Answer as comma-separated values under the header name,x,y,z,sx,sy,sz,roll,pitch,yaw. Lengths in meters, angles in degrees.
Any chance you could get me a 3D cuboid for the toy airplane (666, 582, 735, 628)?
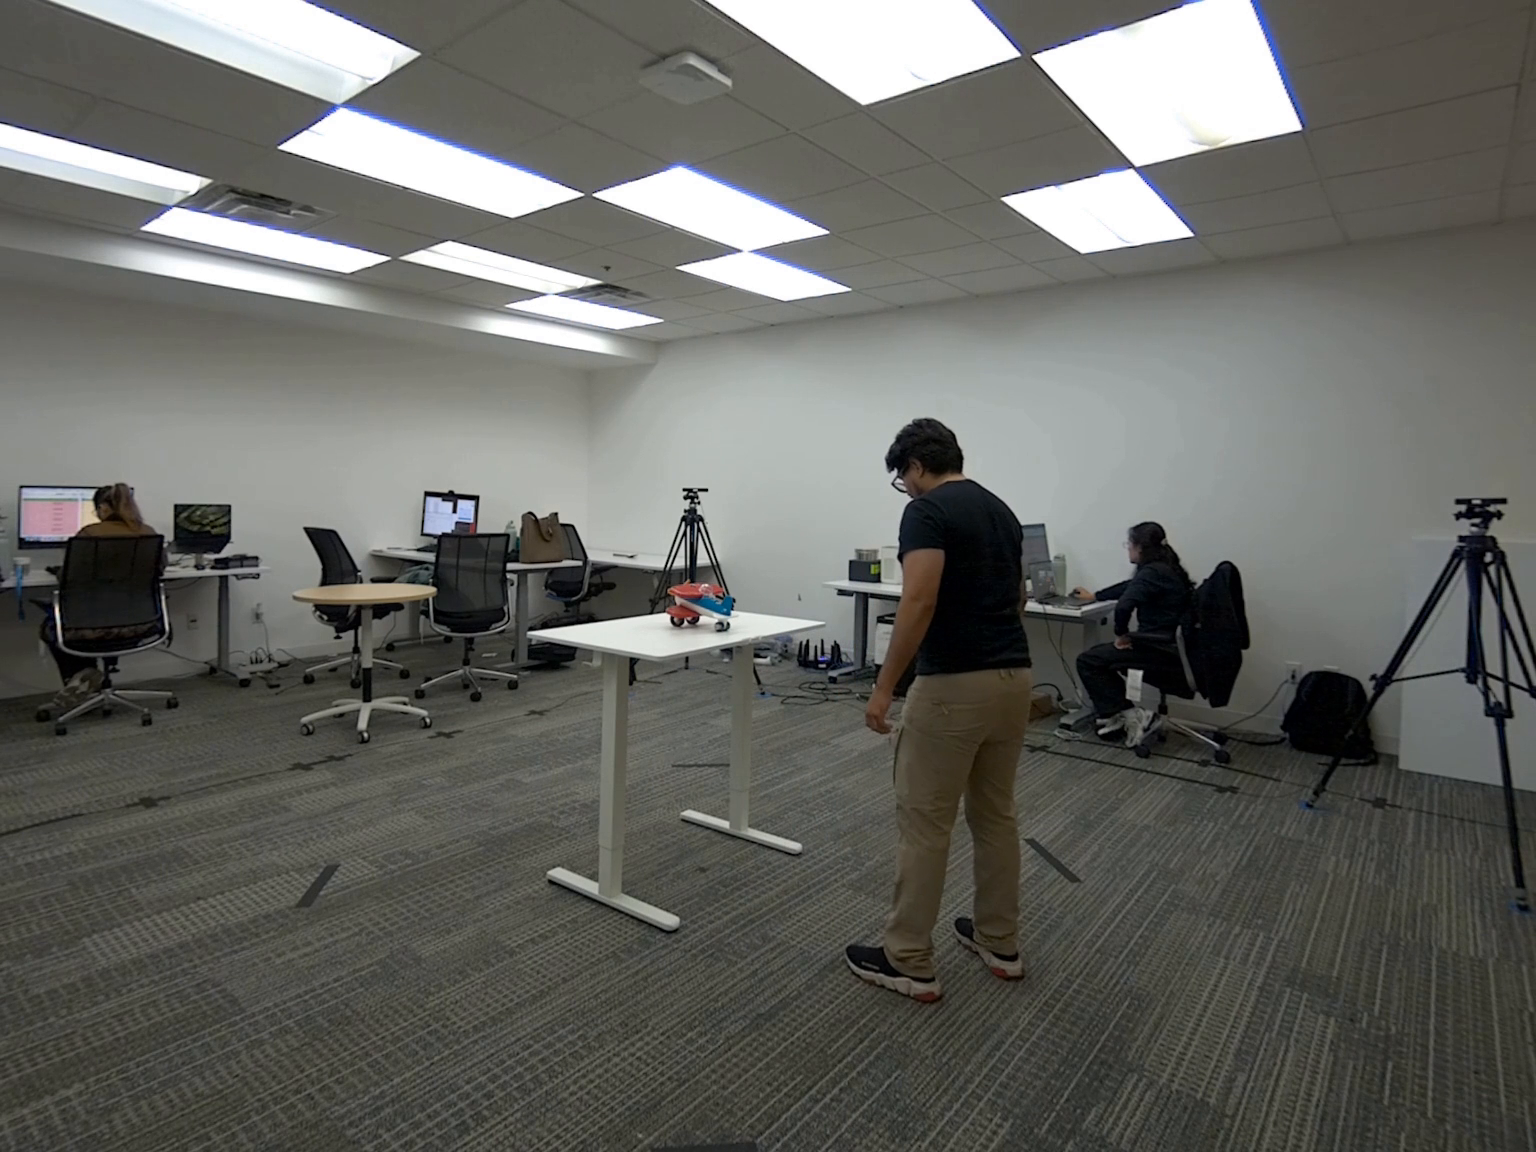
name,x,y,z,sx,sy,sz,roll,pitch,yaw
toy airplane,-0.241,0.109,3.109,0.262,0.156,0.249,1,5,9
